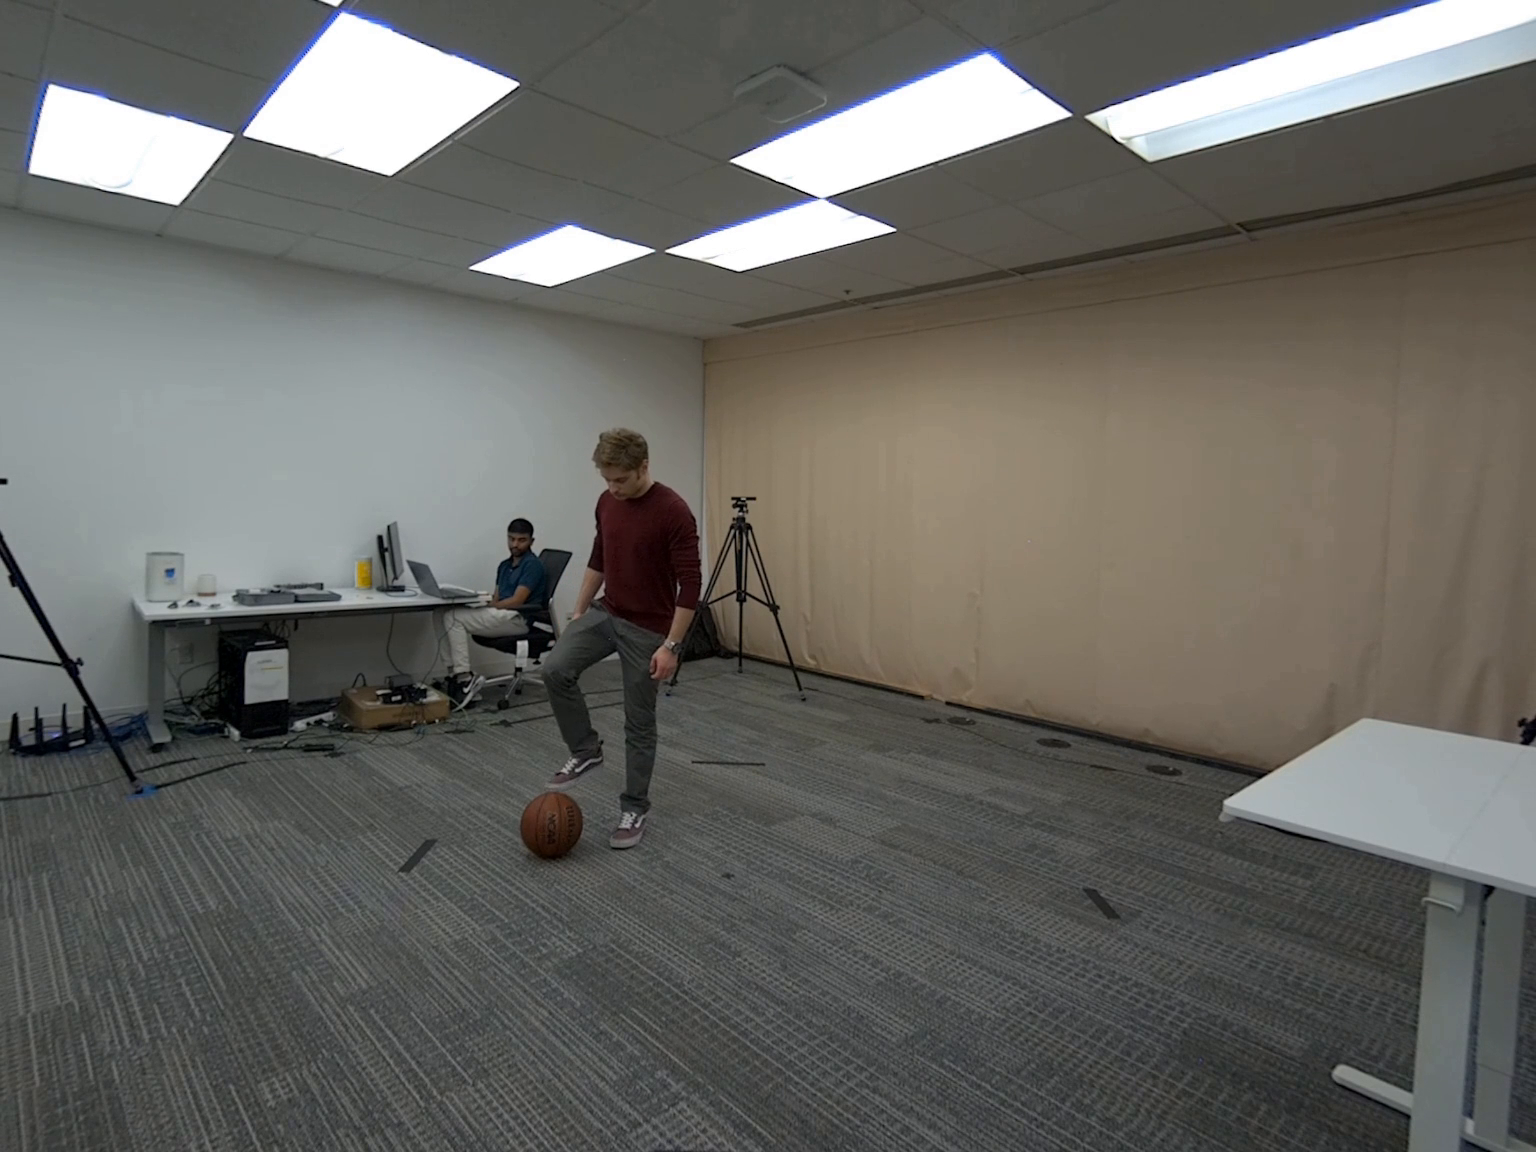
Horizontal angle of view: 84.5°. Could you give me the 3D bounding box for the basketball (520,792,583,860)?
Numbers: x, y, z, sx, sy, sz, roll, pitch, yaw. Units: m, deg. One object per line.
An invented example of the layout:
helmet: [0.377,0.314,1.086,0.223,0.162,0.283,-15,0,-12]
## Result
basketball: [-0.840,0.956,3.246,0.236,0.235,0.237,1,4,-1]
